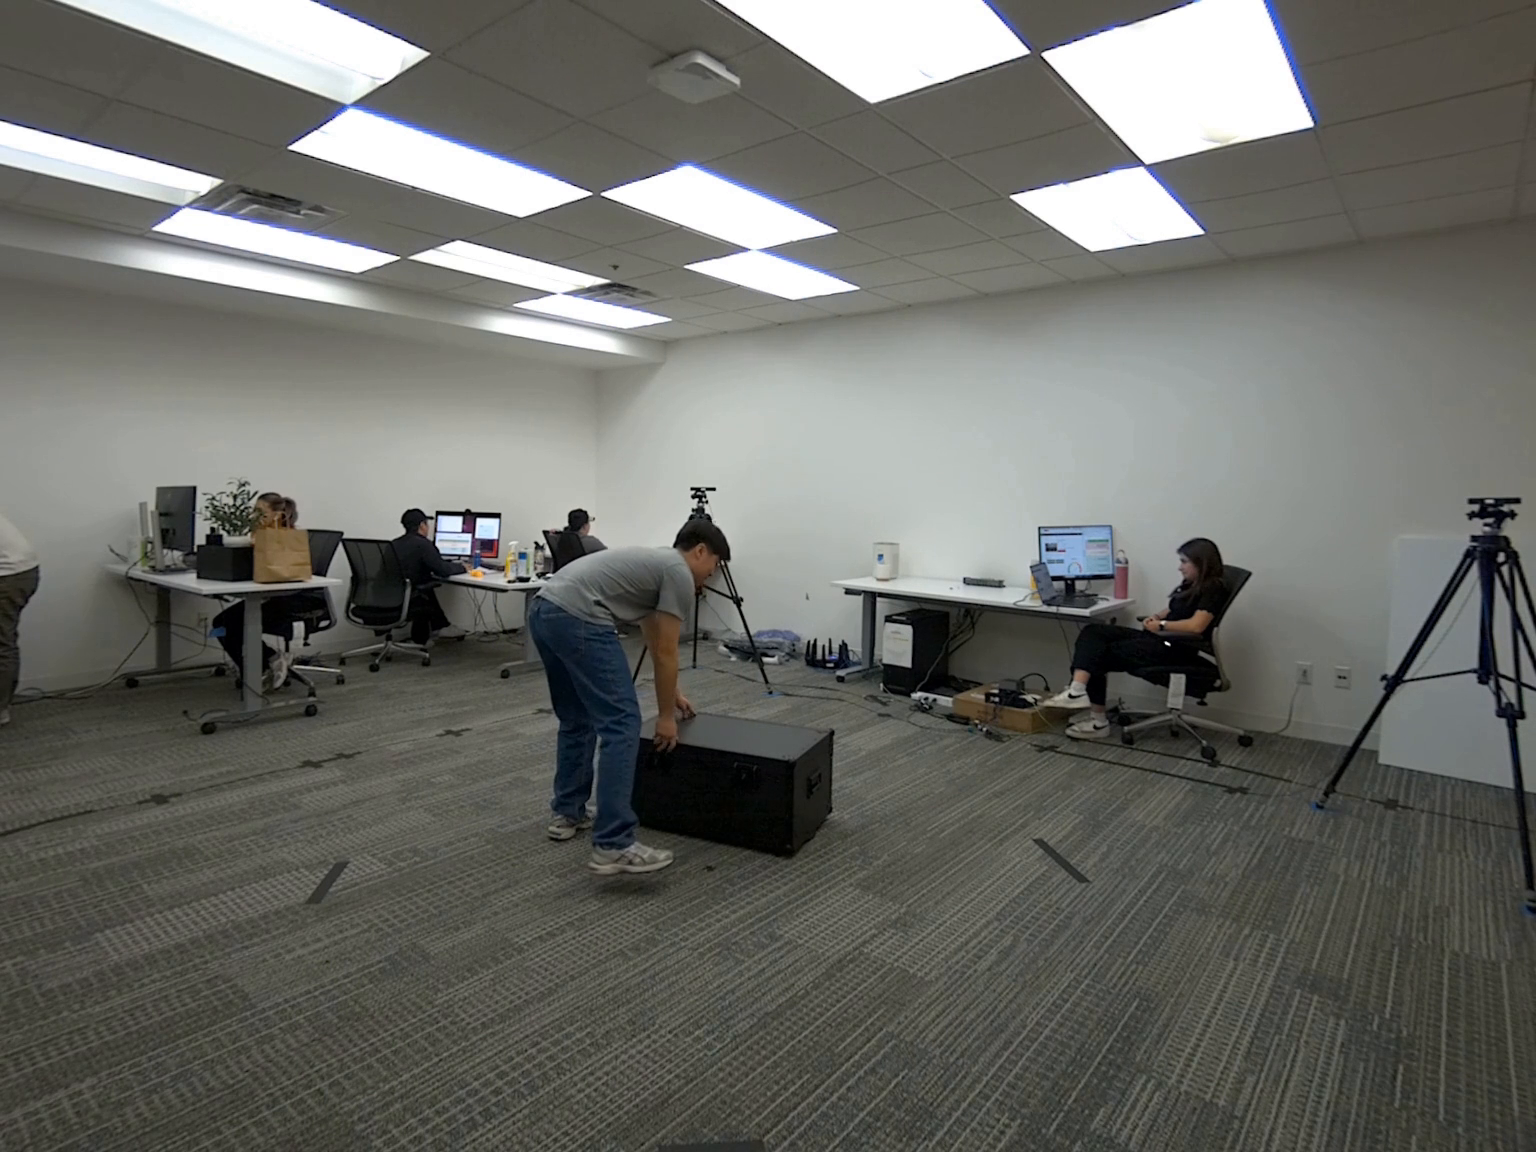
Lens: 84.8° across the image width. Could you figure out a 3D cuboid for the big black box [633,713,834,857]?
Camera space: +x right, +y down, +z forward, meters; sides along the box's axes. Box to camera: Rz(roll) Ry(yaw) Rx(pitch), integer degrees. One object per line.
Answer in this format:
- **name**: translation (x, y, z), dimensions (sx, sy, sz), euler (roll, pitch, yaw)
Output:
- **big black box**: translation (-0.209, 0.834, 3.574), dimensions (0.883, 0.395, 0.510), euler (3, 6, 24)
